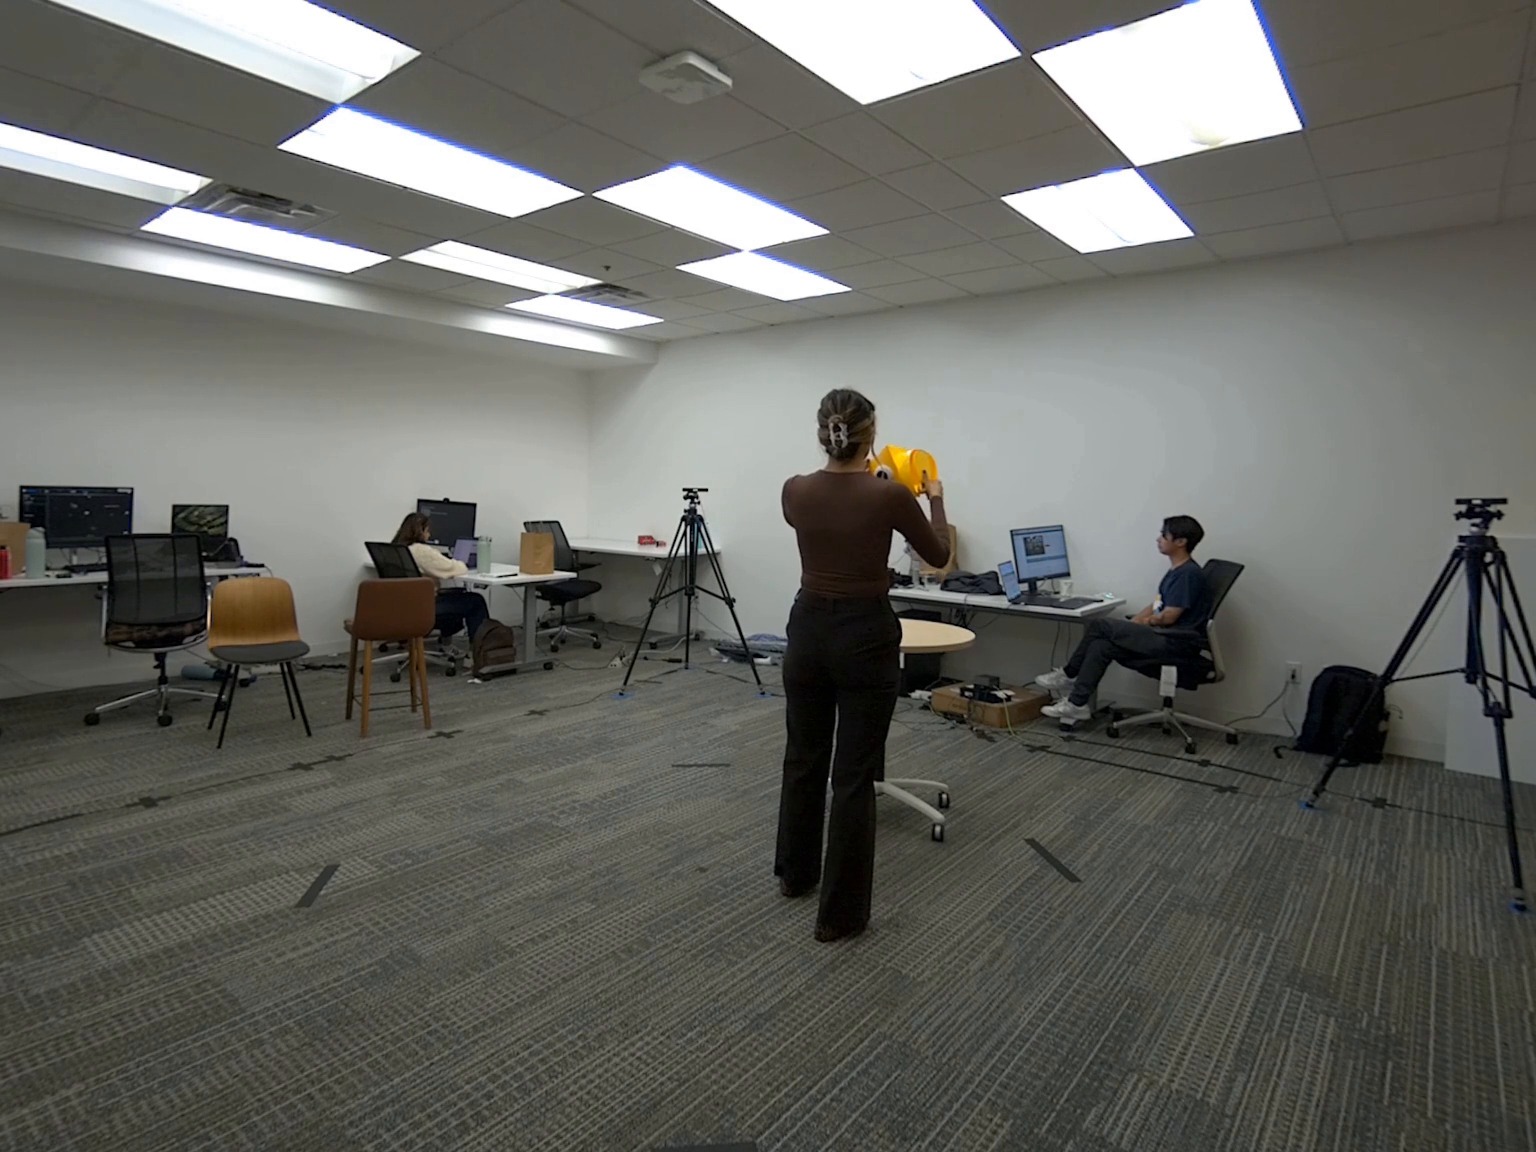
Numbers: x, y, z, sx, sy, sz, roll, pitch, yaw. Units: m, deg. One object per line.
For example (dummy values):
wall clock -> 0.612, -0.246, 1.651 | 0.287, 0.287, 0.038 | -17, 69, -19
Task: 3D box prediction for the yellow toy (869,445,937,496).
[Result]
yellow toy -> 0.453, -0.369, 3.074 | 0.237, 0.195, 0.198 | -8, -9, 39
